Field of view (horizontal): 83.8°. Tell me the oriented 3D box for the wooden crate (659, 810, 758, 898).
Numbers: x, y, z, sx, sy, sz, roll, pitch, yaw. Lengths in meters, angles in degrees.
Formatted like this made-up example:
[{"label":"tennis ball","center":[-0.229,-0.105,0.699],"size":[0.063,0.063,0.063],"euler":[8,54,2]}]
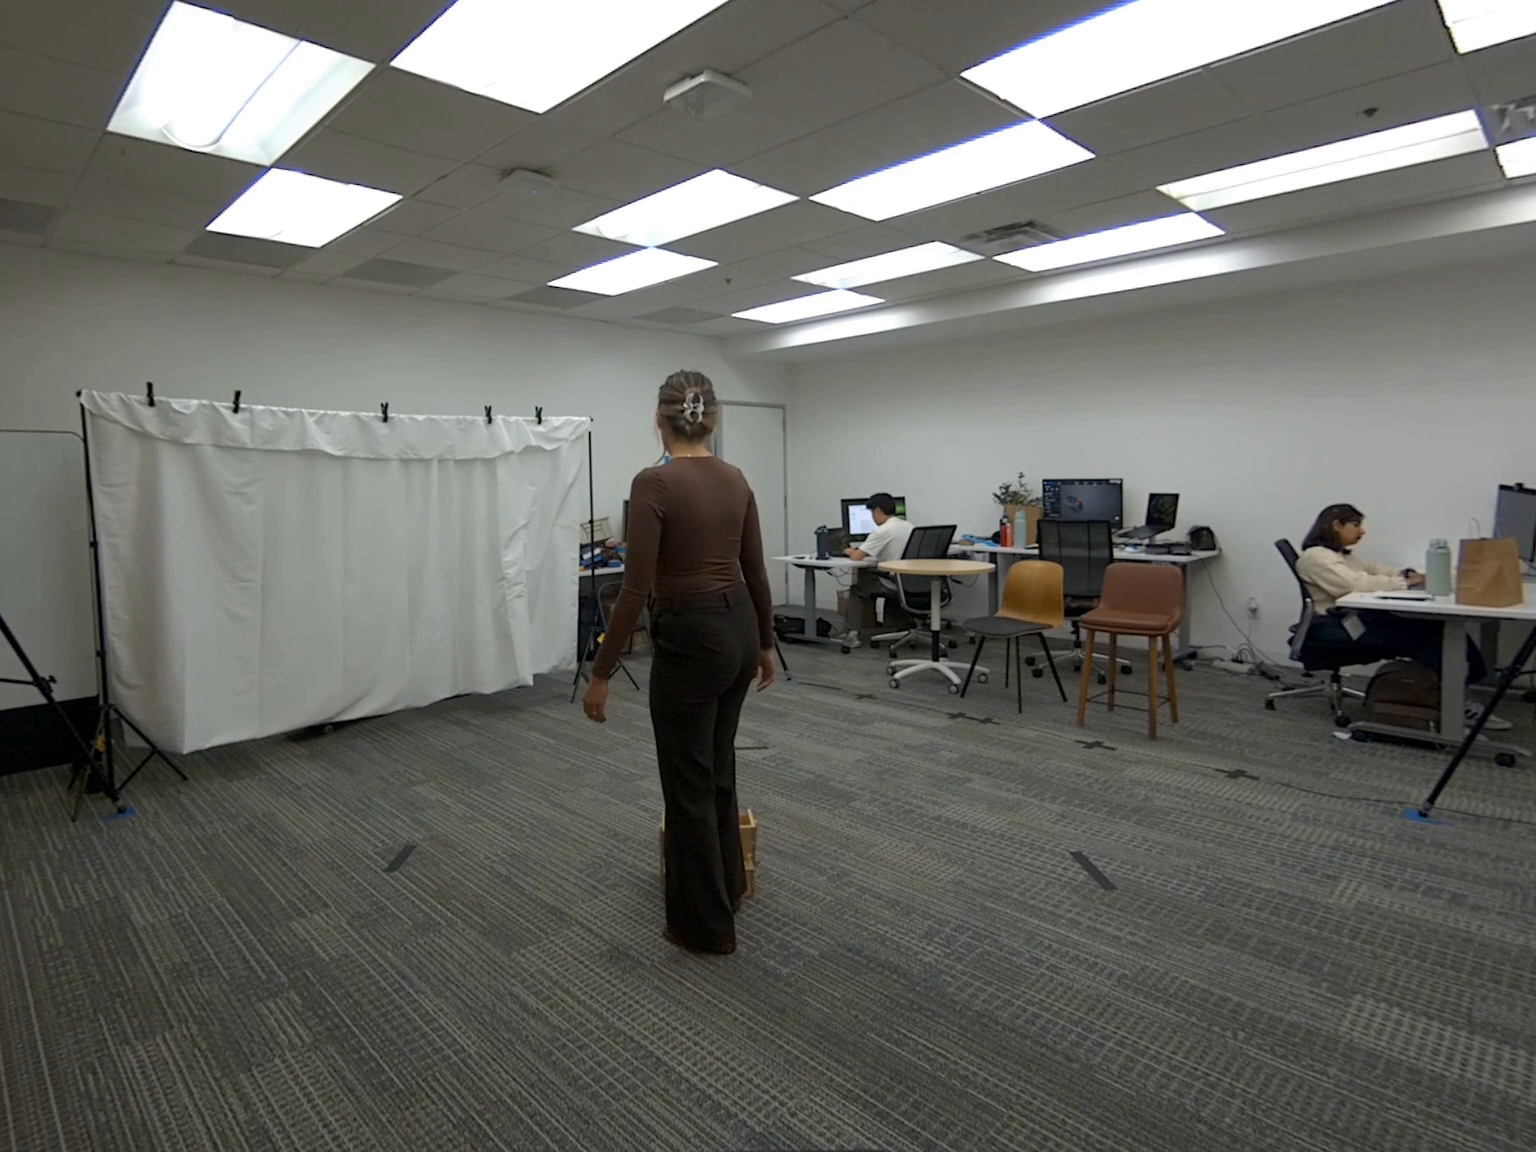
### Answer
[{"label":"wooden crate","center":[-0.205,0.931,2.944],"size":[0.323,0.272,0.305],"euler":[-2,6,-6]}]
